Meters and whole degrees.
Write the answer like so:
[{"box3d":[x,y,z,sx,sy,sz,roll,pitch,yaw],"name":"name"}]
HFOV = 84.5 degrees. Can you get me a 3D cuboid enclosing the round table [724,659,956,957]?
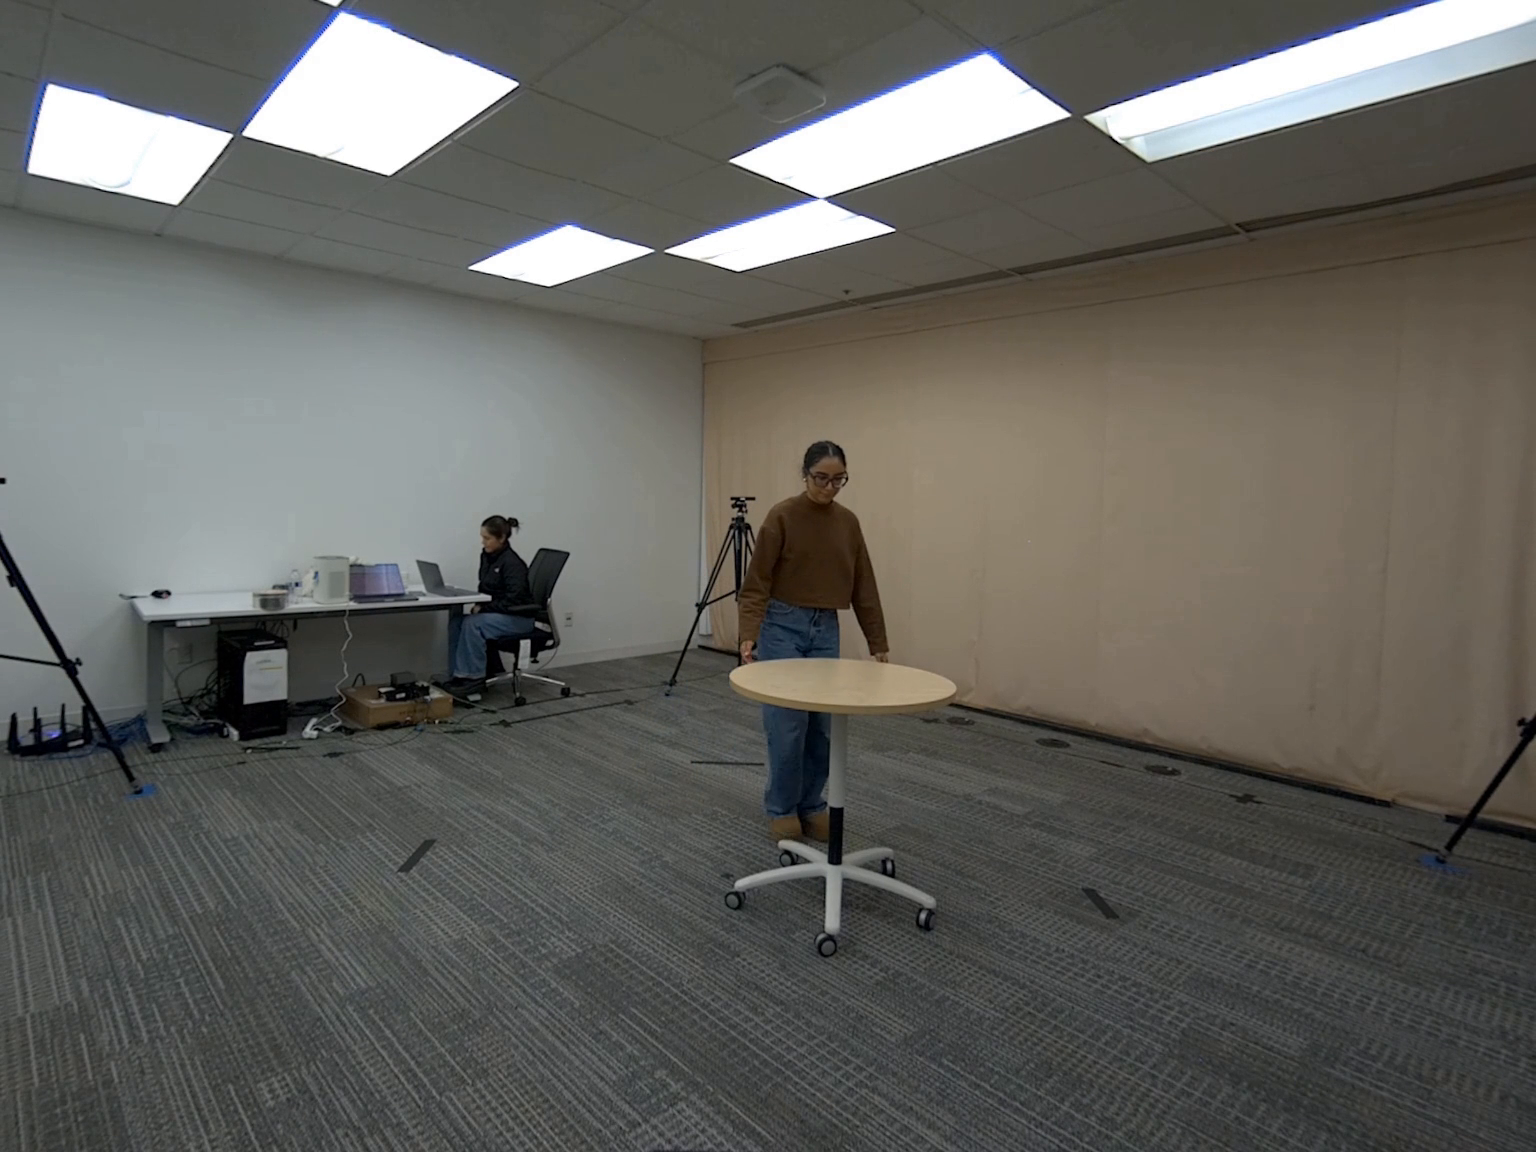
[{"box3d":[0.237,0.744,2.883,0.784,0.784,0.788,2,4,-1],"name":"round table"}]
